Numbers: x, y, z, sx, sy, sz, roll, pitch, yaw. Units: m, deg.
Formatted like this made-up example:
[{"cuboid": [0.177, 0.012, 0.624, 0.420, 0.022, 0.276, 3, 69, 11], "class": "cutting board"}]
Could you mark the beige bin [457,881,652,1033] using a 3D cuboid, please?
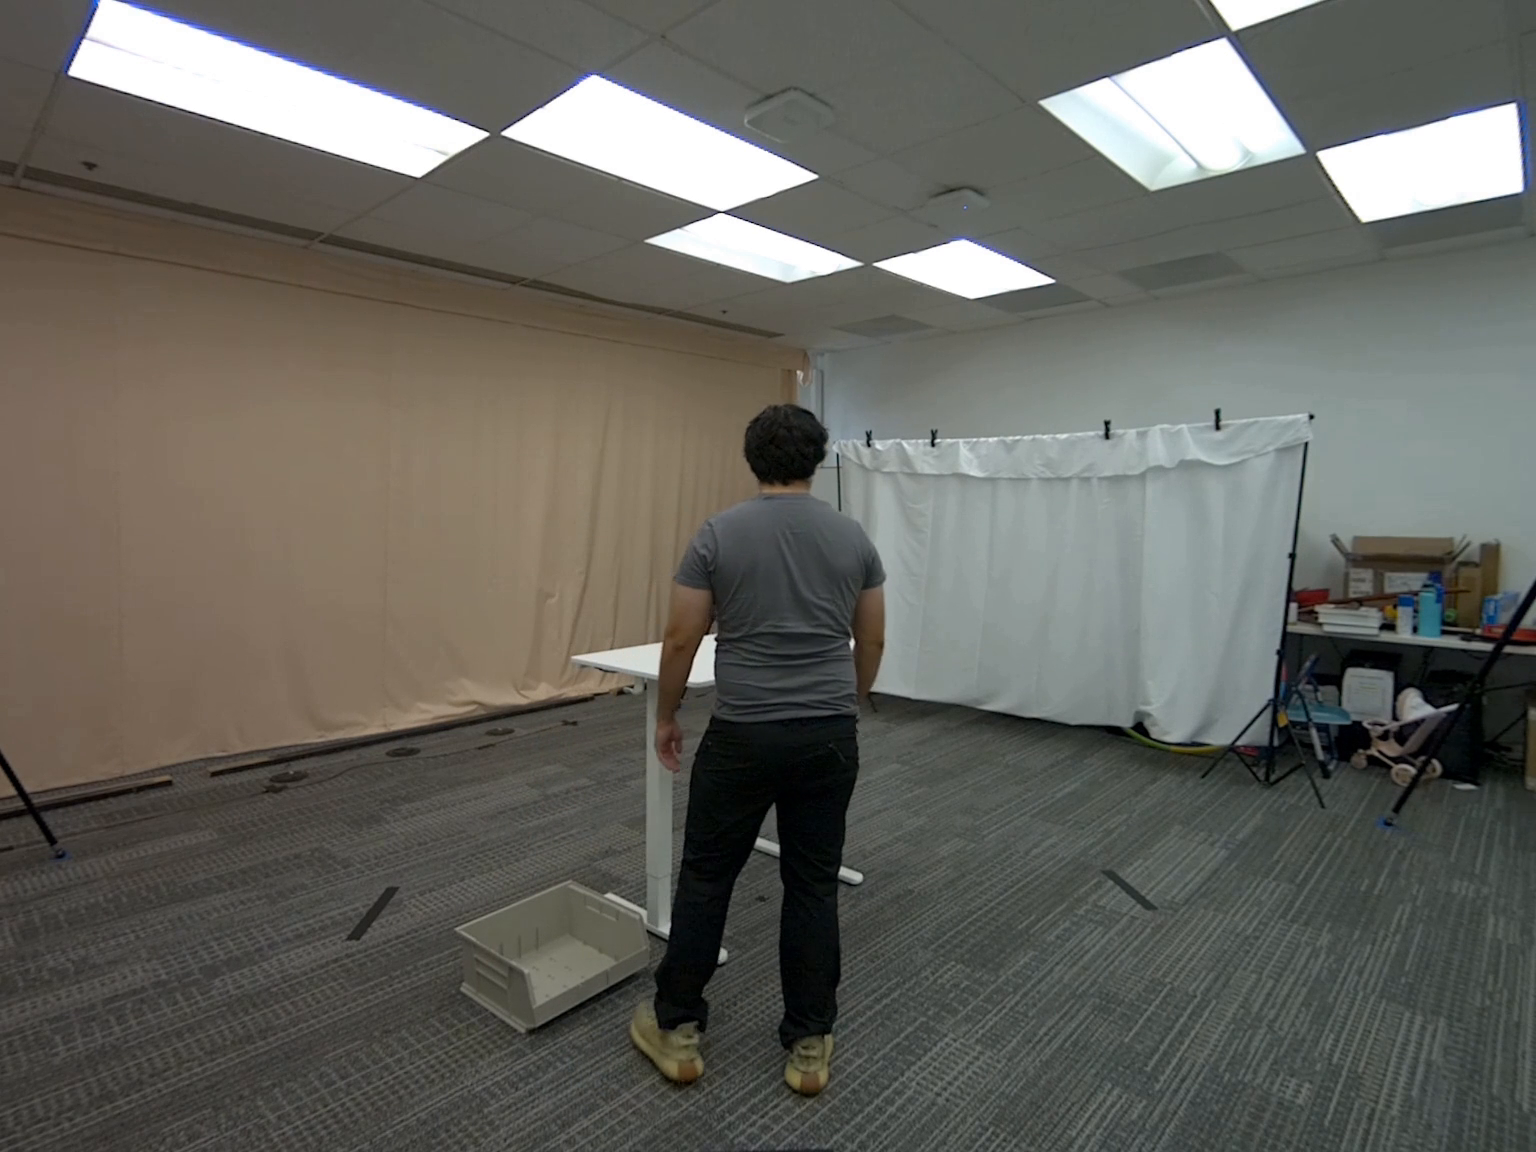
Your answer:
[{"cuboid": [-0.627, 1.105, 2.460, 0.390, 0.188, 0.410, 2, 5, 40], "class": "beige bin"}]
